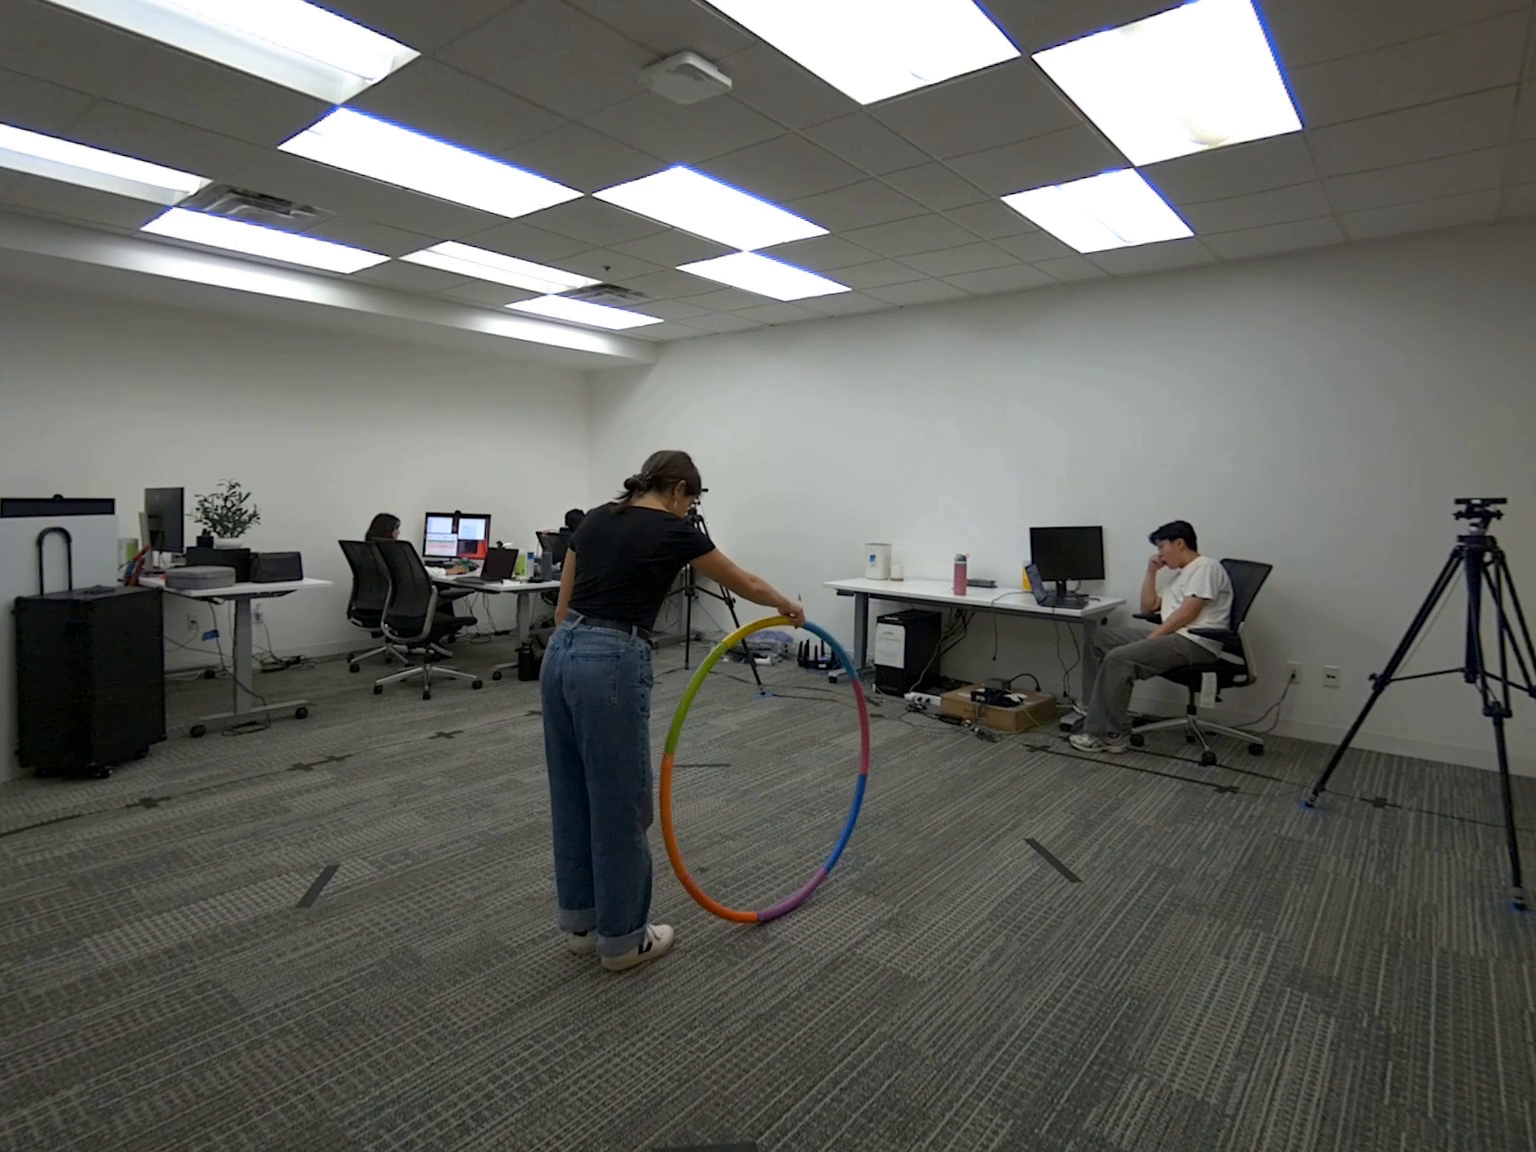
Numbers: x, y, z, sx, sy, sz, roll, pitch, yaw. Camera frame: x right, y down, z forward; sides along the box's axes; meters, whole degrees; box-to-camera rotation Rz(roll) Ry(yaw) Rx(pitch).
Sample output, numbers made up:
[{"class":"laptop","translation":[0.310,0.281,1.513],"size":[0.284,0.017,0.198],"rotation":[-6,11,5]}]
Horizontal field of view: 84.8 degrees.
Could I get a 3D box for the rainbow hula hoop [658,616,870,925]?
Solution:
[{"class":"rainbow hula hoop","translation":[0.041,0.620,2.791],"size":[0.036,0.979,0.949],"rotation":[-3,0,45]}]
